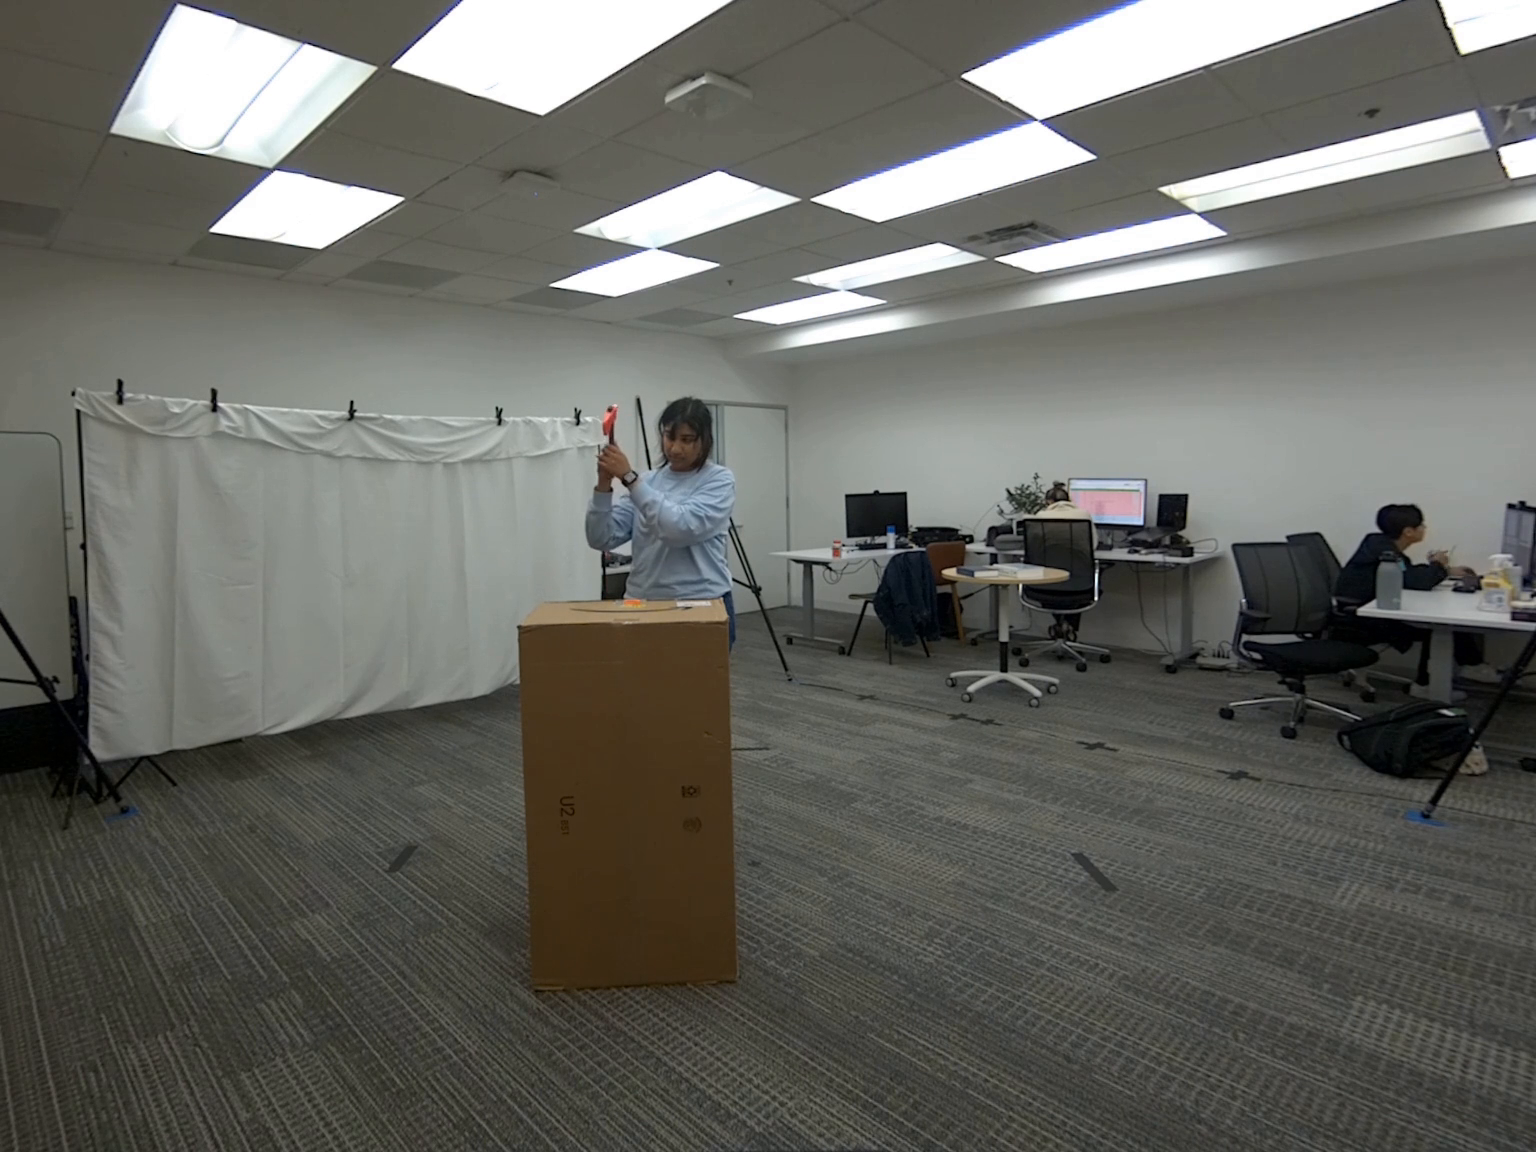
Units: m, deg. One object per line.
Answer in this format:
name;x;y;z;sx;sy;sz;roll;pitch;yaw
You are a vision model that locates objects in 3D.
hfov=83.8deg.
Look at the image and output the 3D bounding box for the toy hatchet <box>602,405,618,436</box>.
toy hatchet;-0.531;-0.436;2.887;0.030;0.265;0.132;6;21;4
